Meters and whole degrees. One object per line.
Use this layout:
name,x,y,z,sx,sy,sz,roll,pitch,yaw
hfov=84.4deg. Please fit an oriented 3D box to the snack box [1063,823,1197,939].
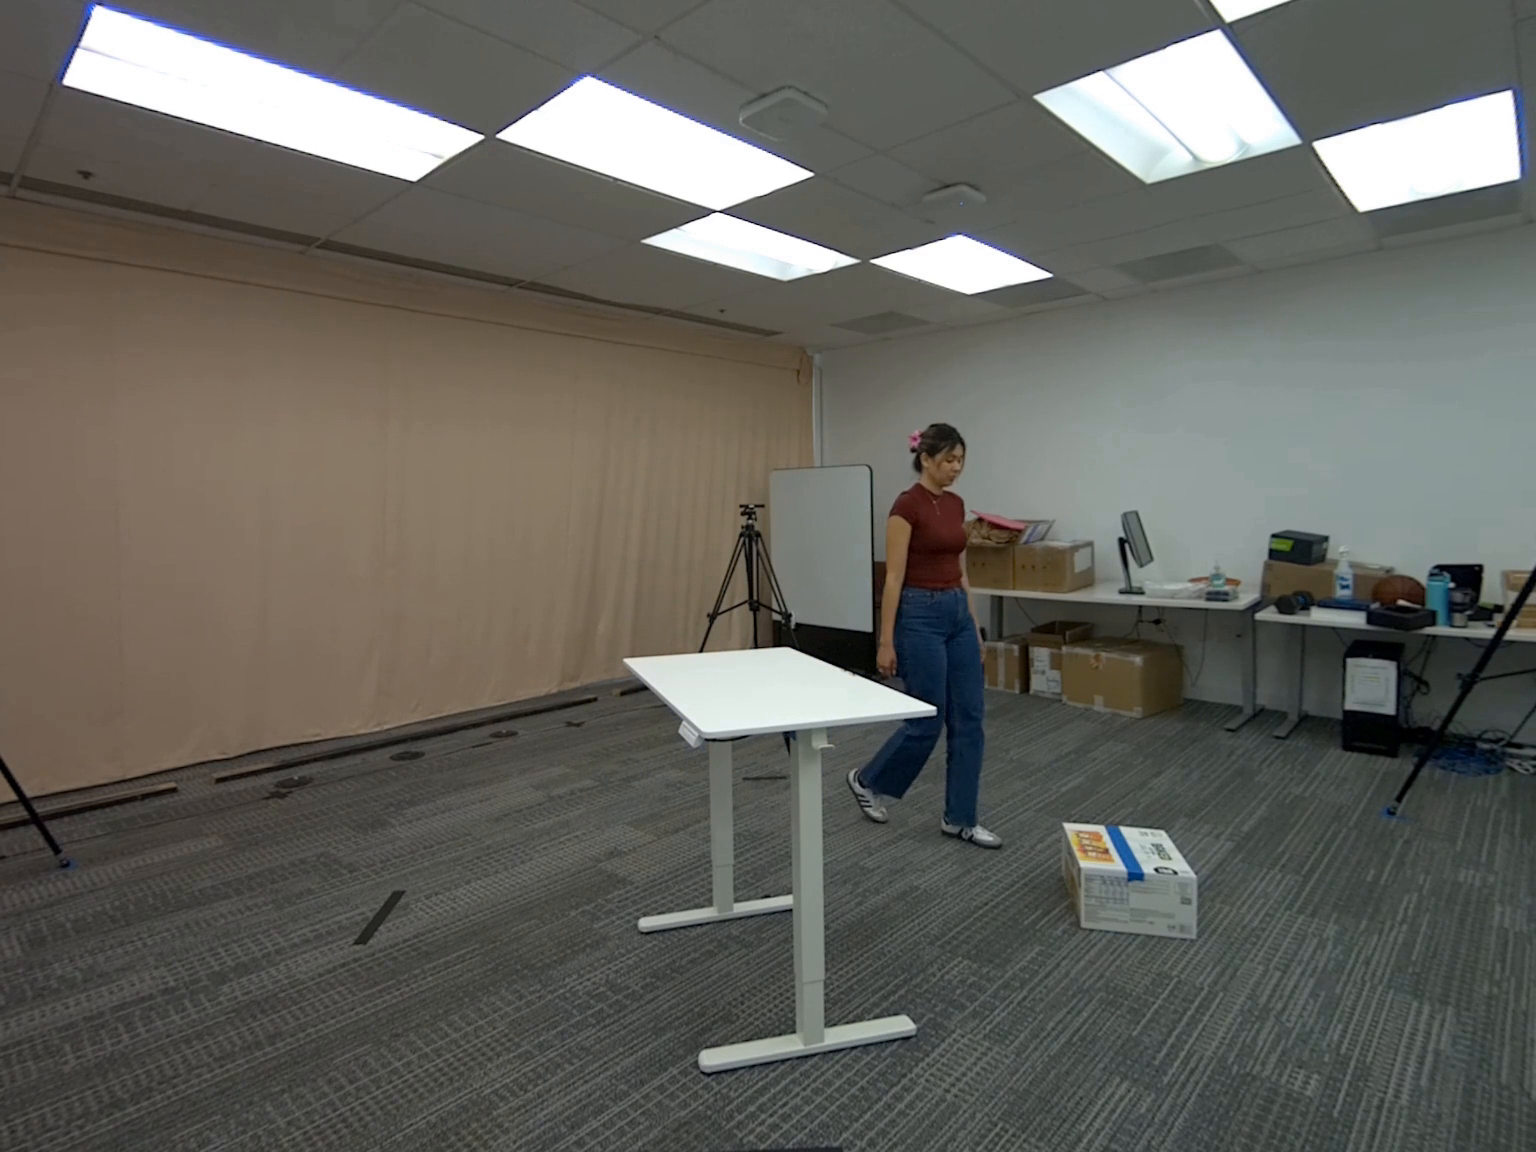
snack box,1.227,1.028,2.870,0.345,0.205,0.400,0,4,13
